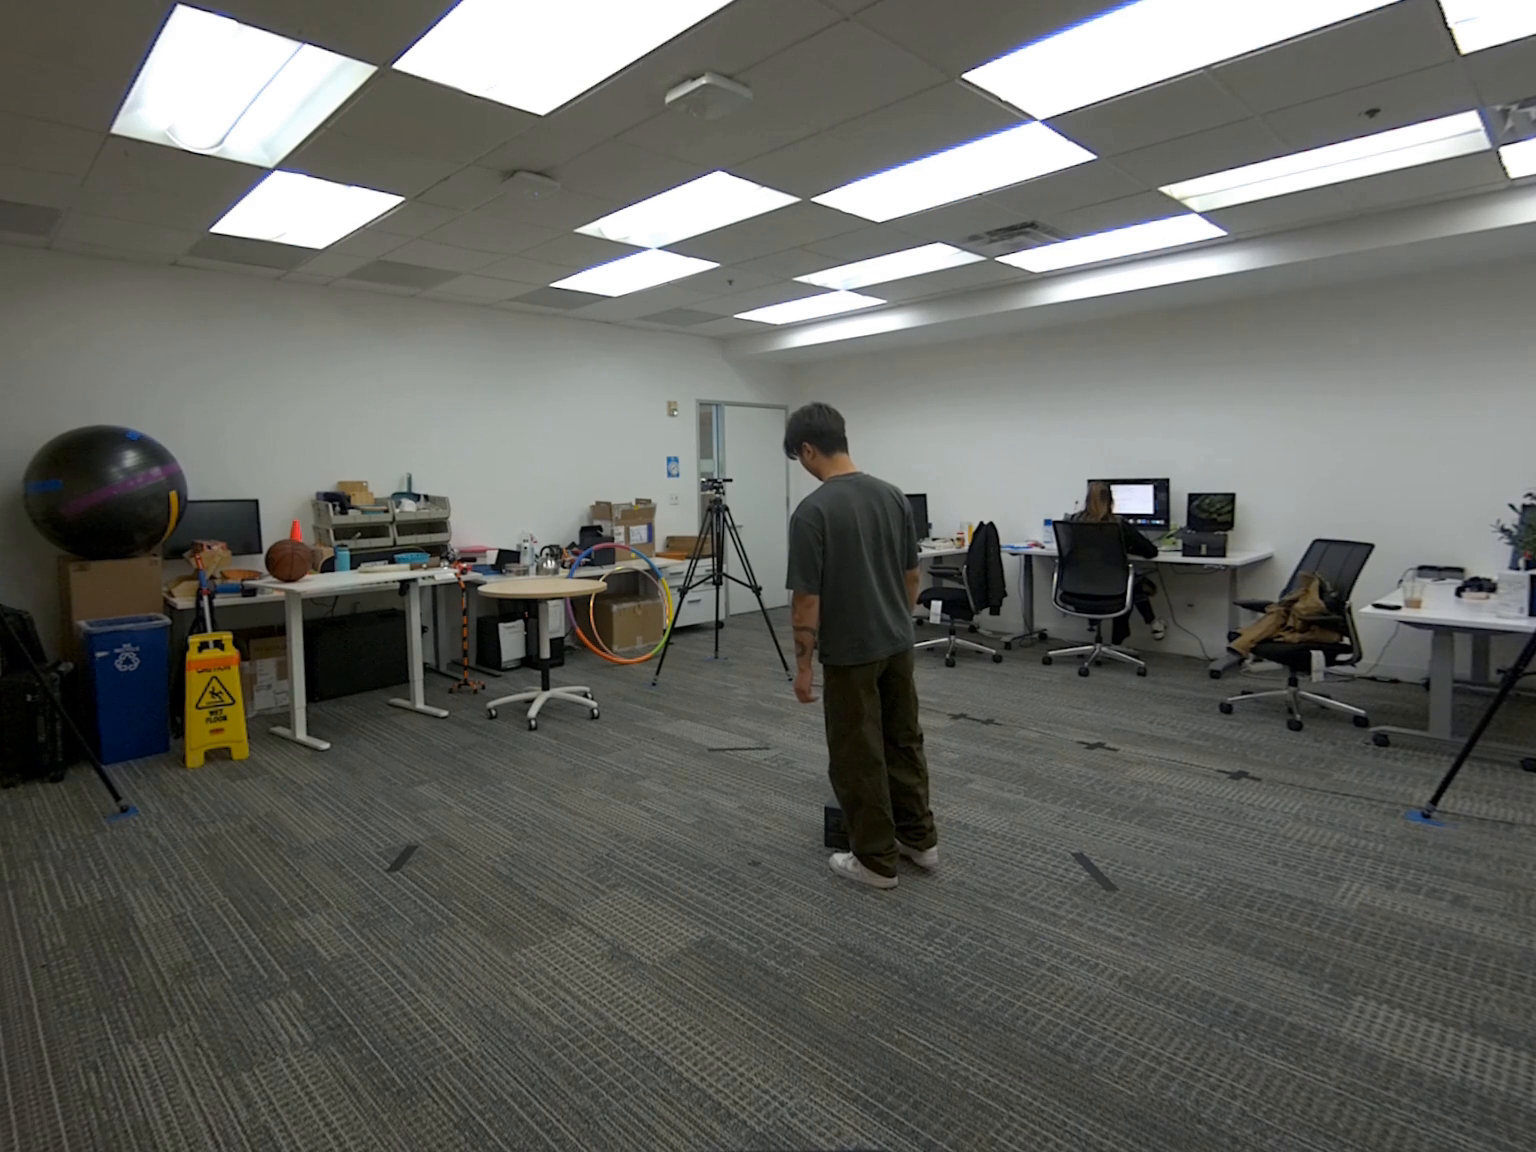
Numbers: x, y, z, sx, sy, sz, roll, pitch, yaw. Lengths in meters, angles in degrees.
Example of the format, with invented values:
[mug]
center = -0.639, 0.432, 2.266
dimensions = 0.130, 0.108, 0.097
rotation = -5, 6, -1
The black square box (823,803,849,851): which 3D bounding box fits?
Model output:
[black square box]
center = 0.353, 0.933, 3.296
dimensions = 0.222, 0.155, 0.224
rotation = 1, 6, 23
